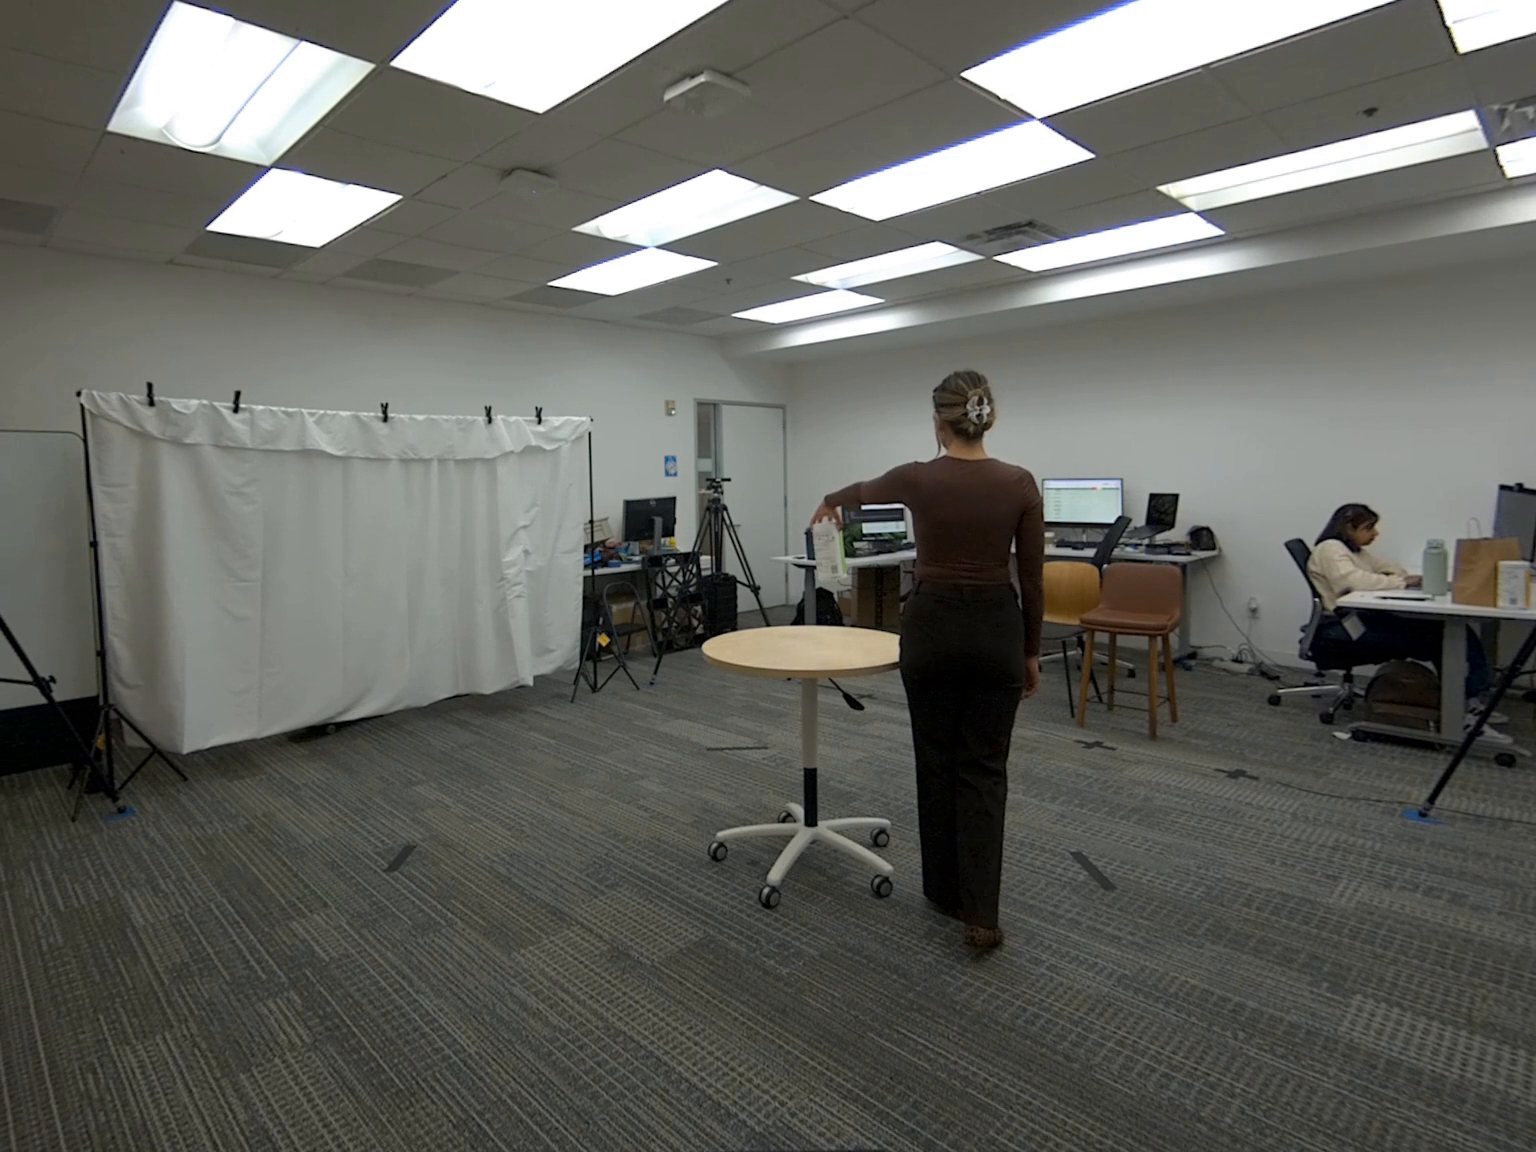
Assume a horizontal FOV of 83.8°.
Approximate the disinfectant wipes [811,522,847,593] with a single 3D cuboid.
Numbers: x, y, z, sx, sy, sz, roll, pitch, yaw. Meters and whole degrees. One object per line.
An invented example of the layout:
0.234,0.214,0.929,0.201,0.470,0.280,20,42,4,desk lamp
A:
0.239,-0.091,3.168,0.118,0.217,0.118,-6,4,-1,disinfectant wipes
